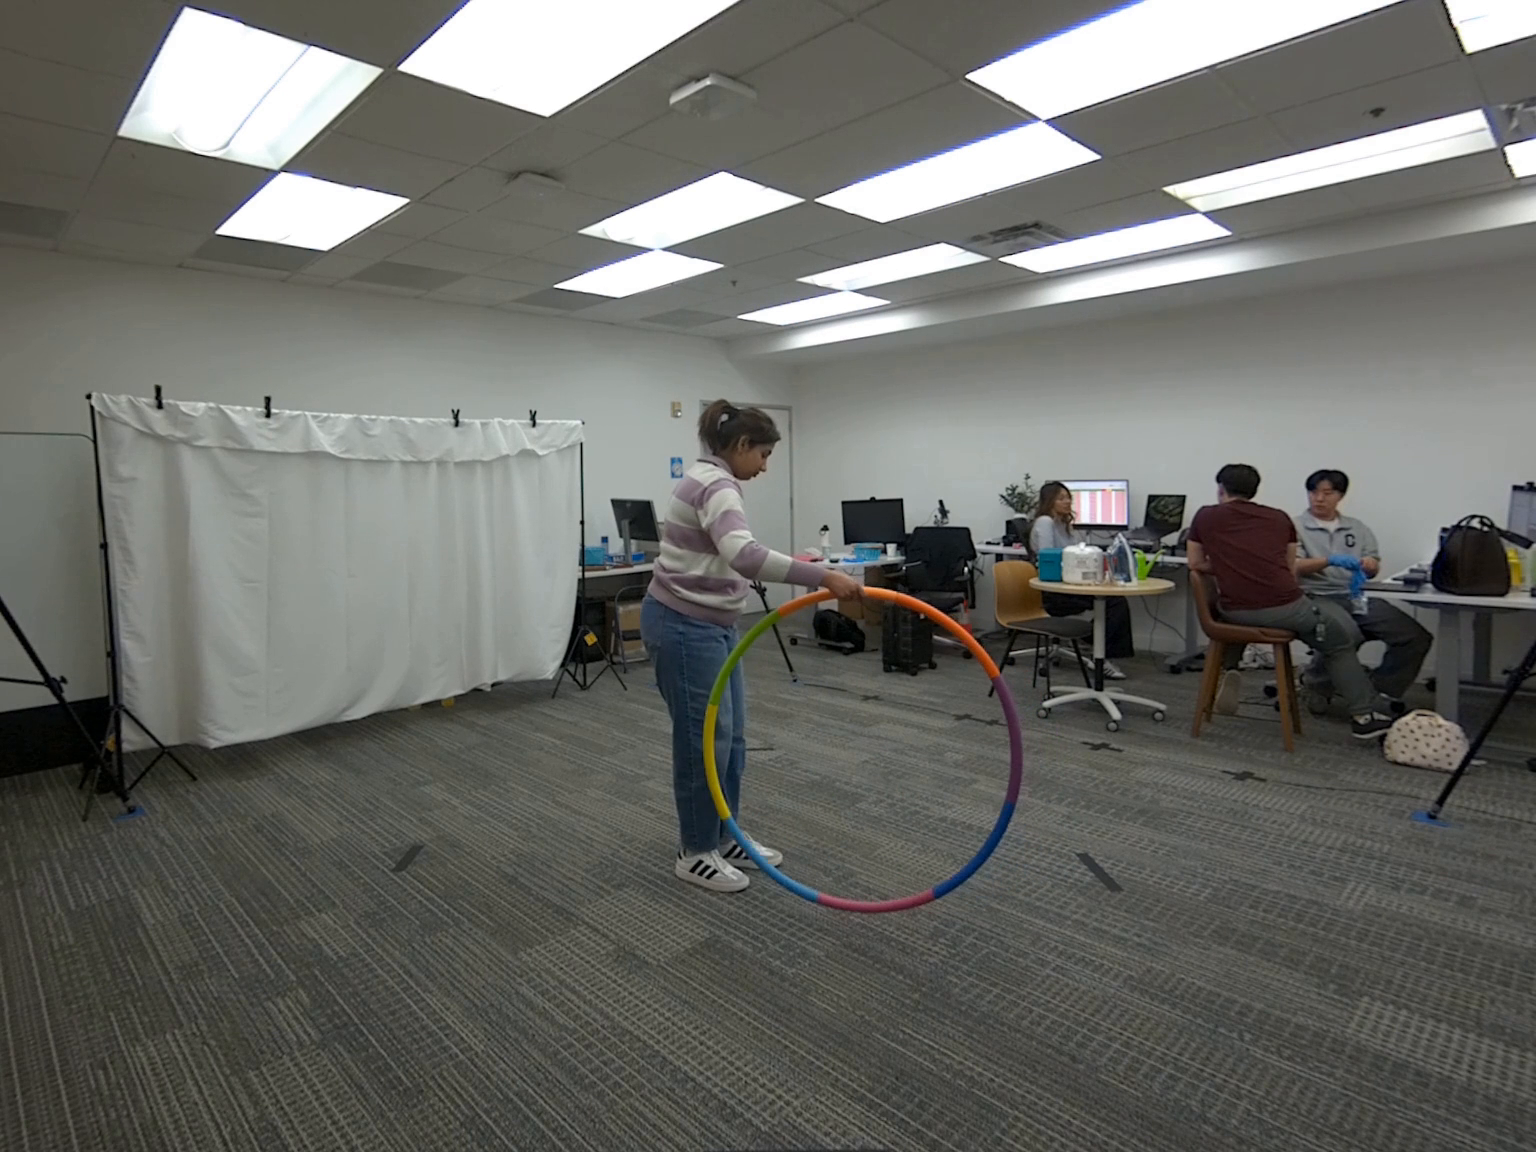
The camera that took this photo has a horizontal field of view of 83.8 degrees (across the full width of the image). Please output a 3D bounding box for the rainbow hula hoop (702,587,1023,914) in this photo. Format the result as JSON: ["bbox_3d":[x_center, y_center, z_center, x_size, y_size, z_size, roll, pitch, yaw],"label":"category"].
[{"bbox_3d":[0.277,0.537,2.631,0.994,0.979,0.035,0,-1,16],"label":"rainbow hula hoop"}]
